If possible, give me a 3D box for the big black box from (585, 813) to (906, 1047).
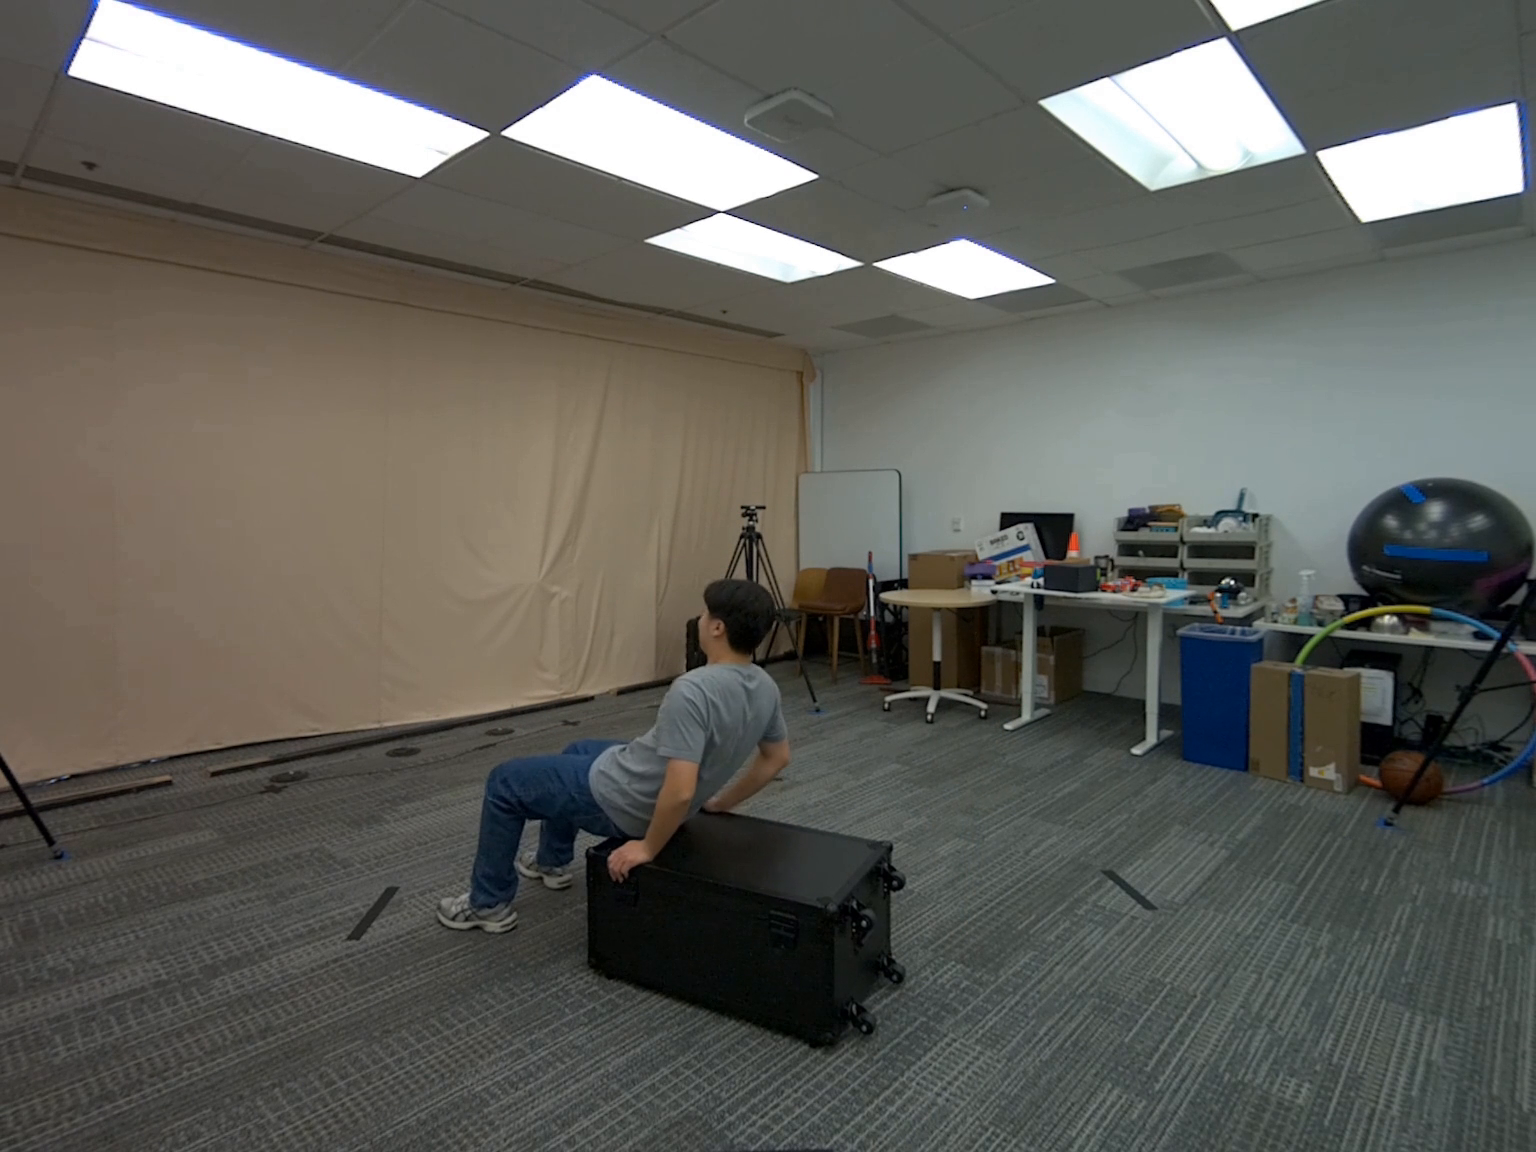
[{"bbox_3d":[-0.048,1.002,2.494,0.885,0.395,0.508,1,4,28],"label":"big black box"}]
